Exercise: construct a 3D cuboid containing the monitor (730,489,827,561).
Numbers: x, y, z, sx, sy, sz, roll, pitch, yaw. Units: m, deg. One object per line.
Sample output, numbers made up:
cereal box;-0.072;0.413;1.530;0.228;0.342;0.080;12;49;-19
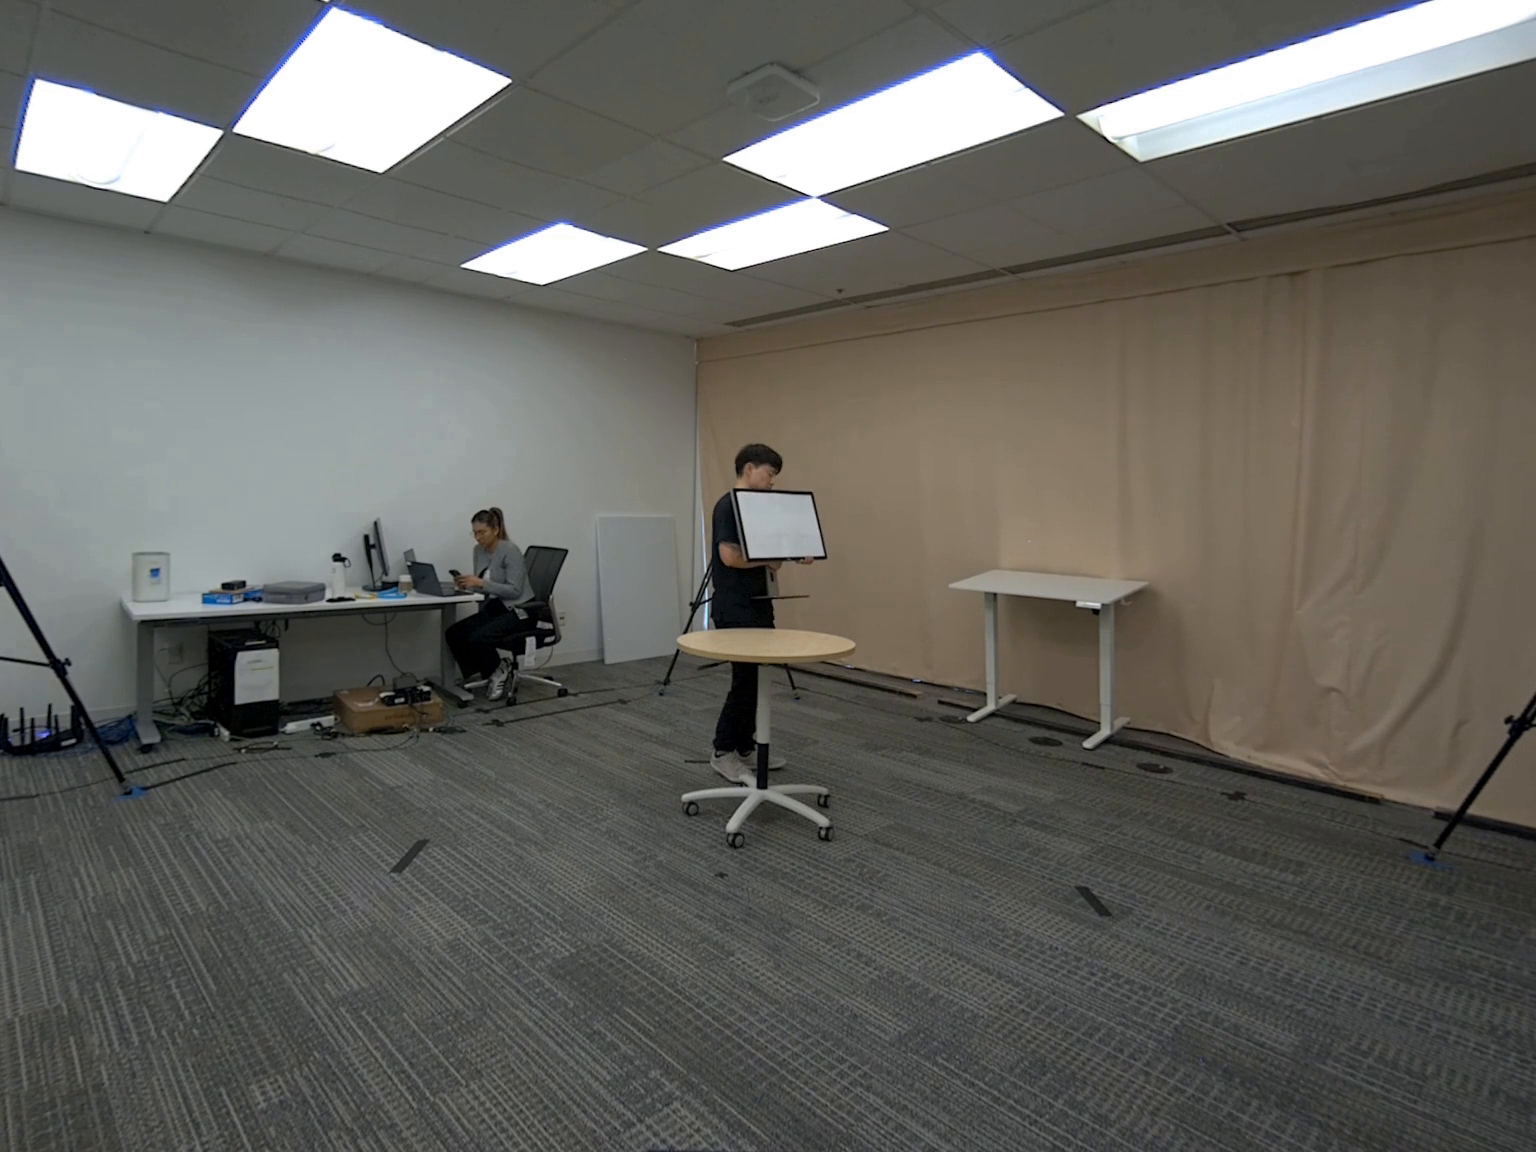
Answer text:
monitor;0.031;-0.160;4.182;0.526;0.523;0.191;-2;-2;-44
